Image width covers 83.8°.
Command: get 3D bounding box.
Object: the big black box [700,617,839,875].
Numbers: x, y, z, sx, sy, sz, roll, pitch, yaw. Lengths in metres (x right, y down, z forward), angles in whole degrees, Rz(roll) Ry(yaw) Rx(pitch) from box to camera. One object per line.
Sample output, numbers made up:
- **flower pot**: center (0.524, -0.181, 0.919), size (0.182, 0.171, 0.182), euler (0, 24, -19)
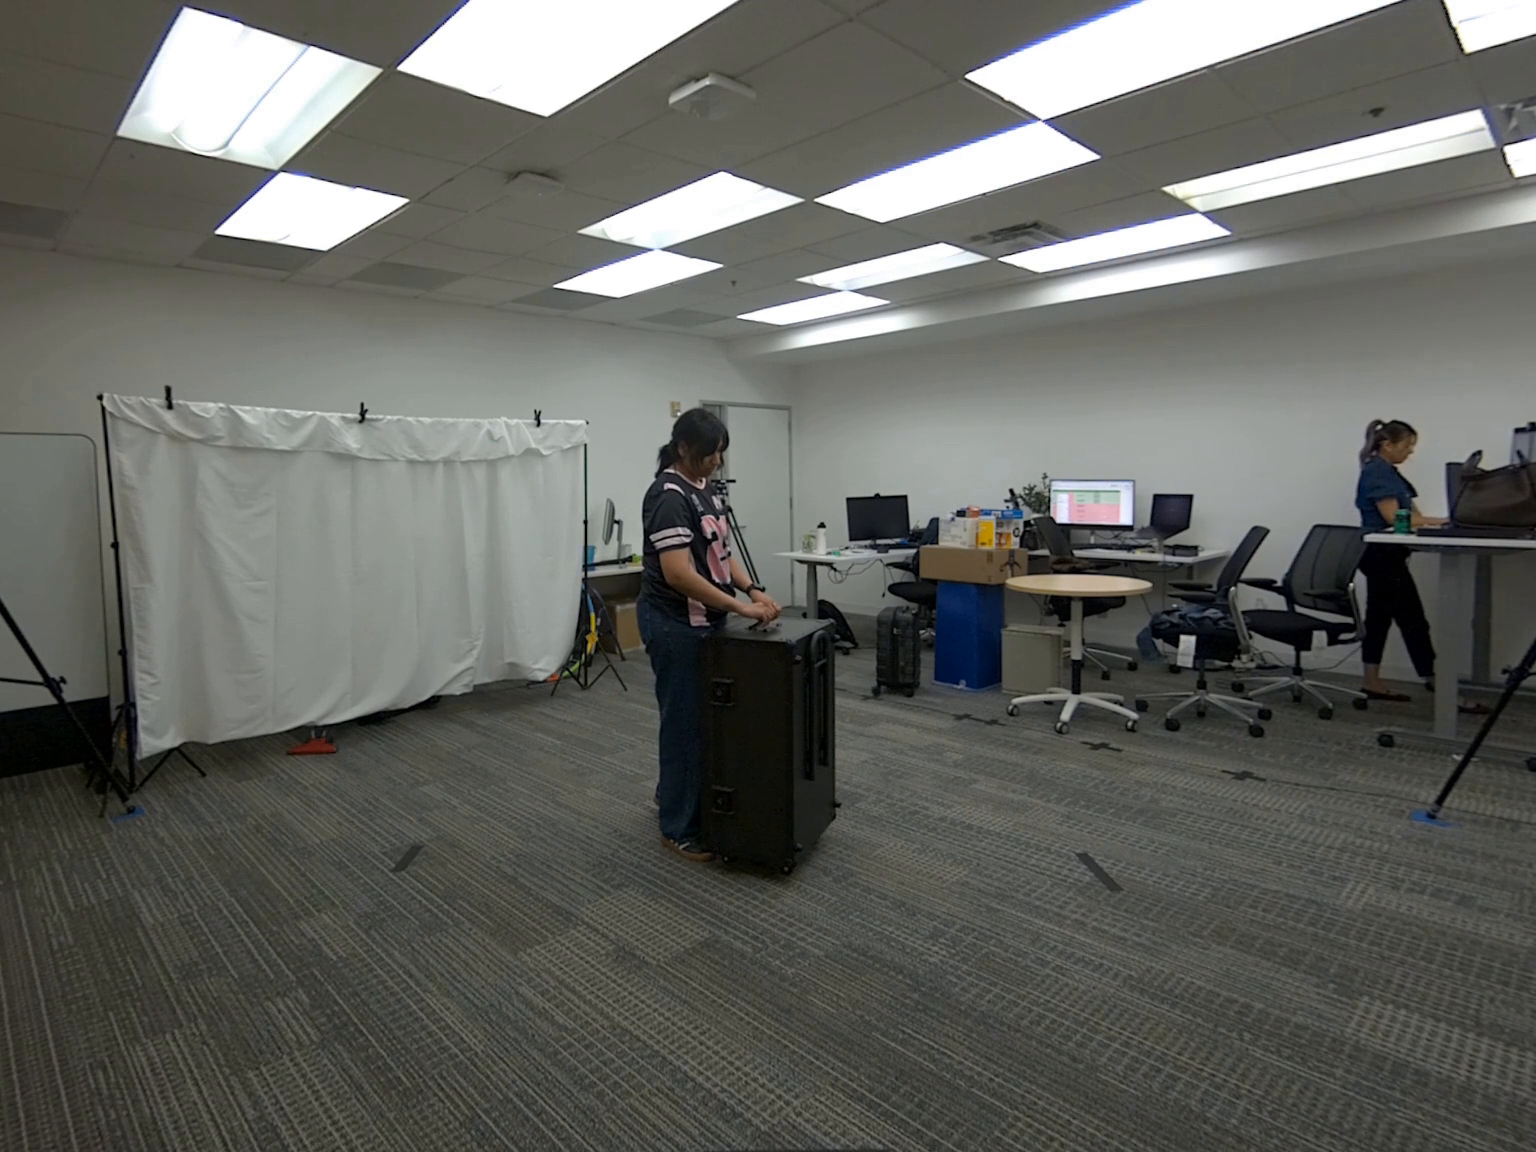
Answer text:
- **big black box**: center (0.026, 0.618, 3.176), size (0.405, 0.858, 0.512), euler (2, 5, 23)
